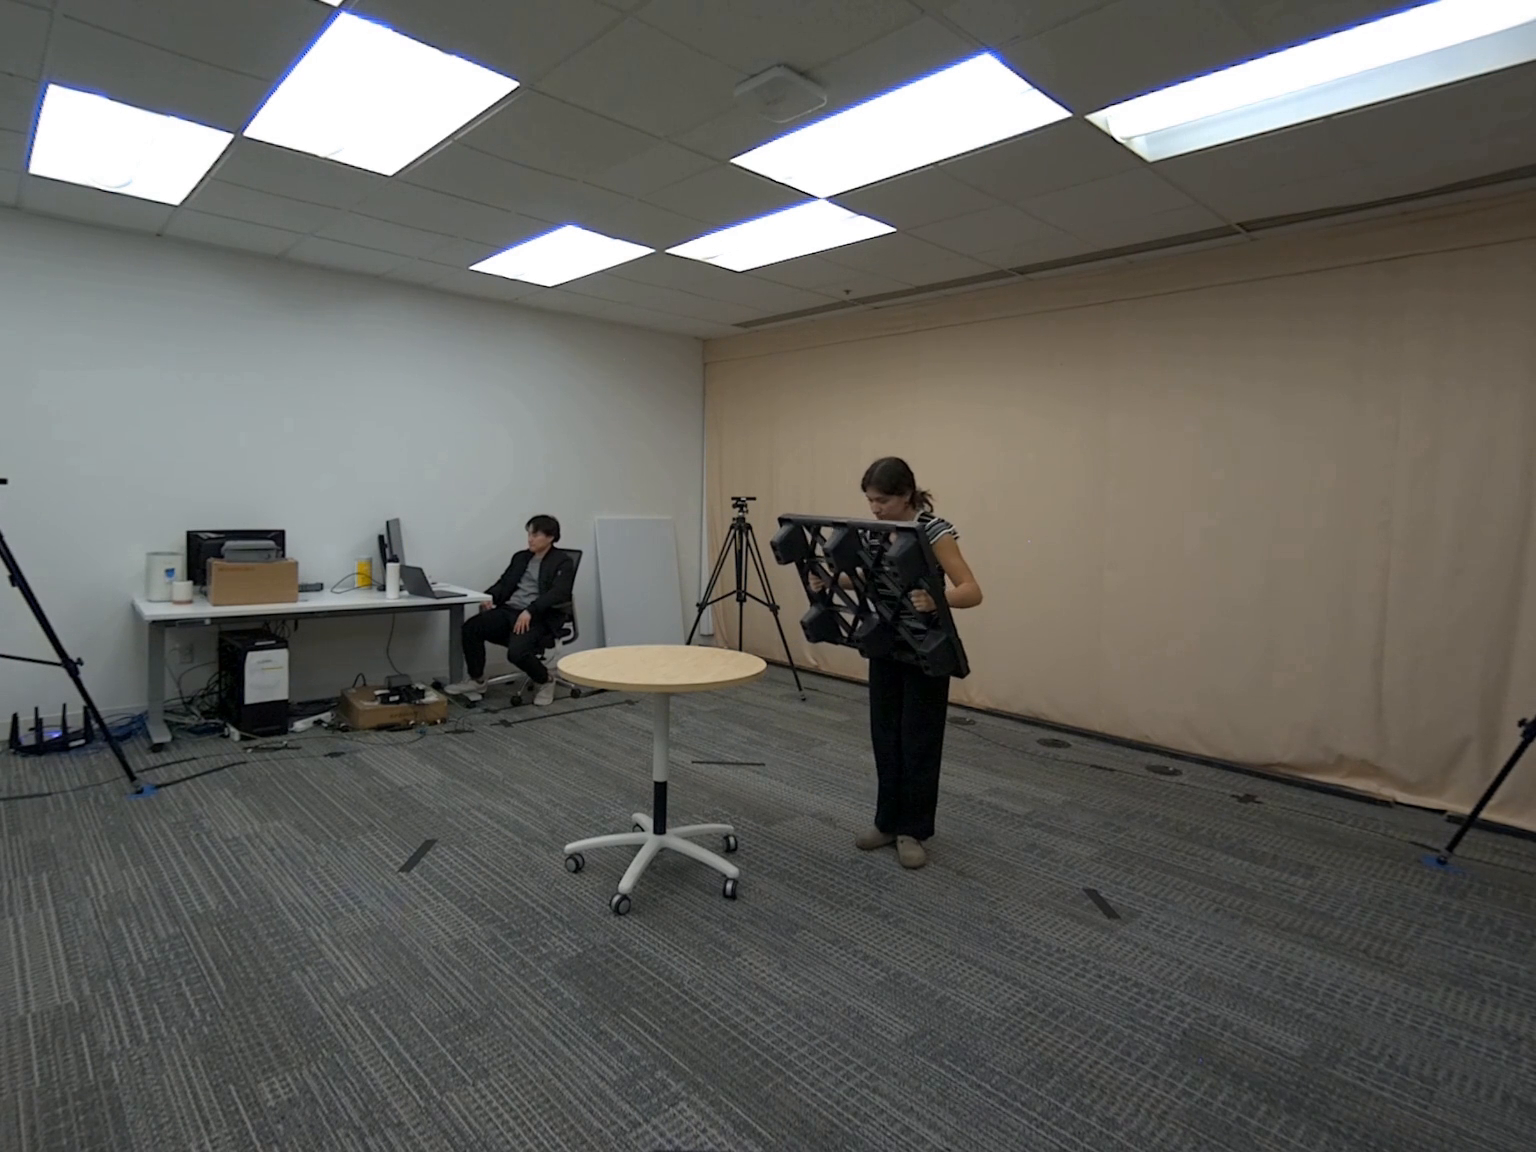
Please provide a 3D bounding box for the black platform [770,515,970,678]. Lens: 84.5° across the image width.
[{"bbox_3d":[0.330,0.072,3.177,0.142,0.595,0.825,-31,21,-26],"label":"black platform"}]
